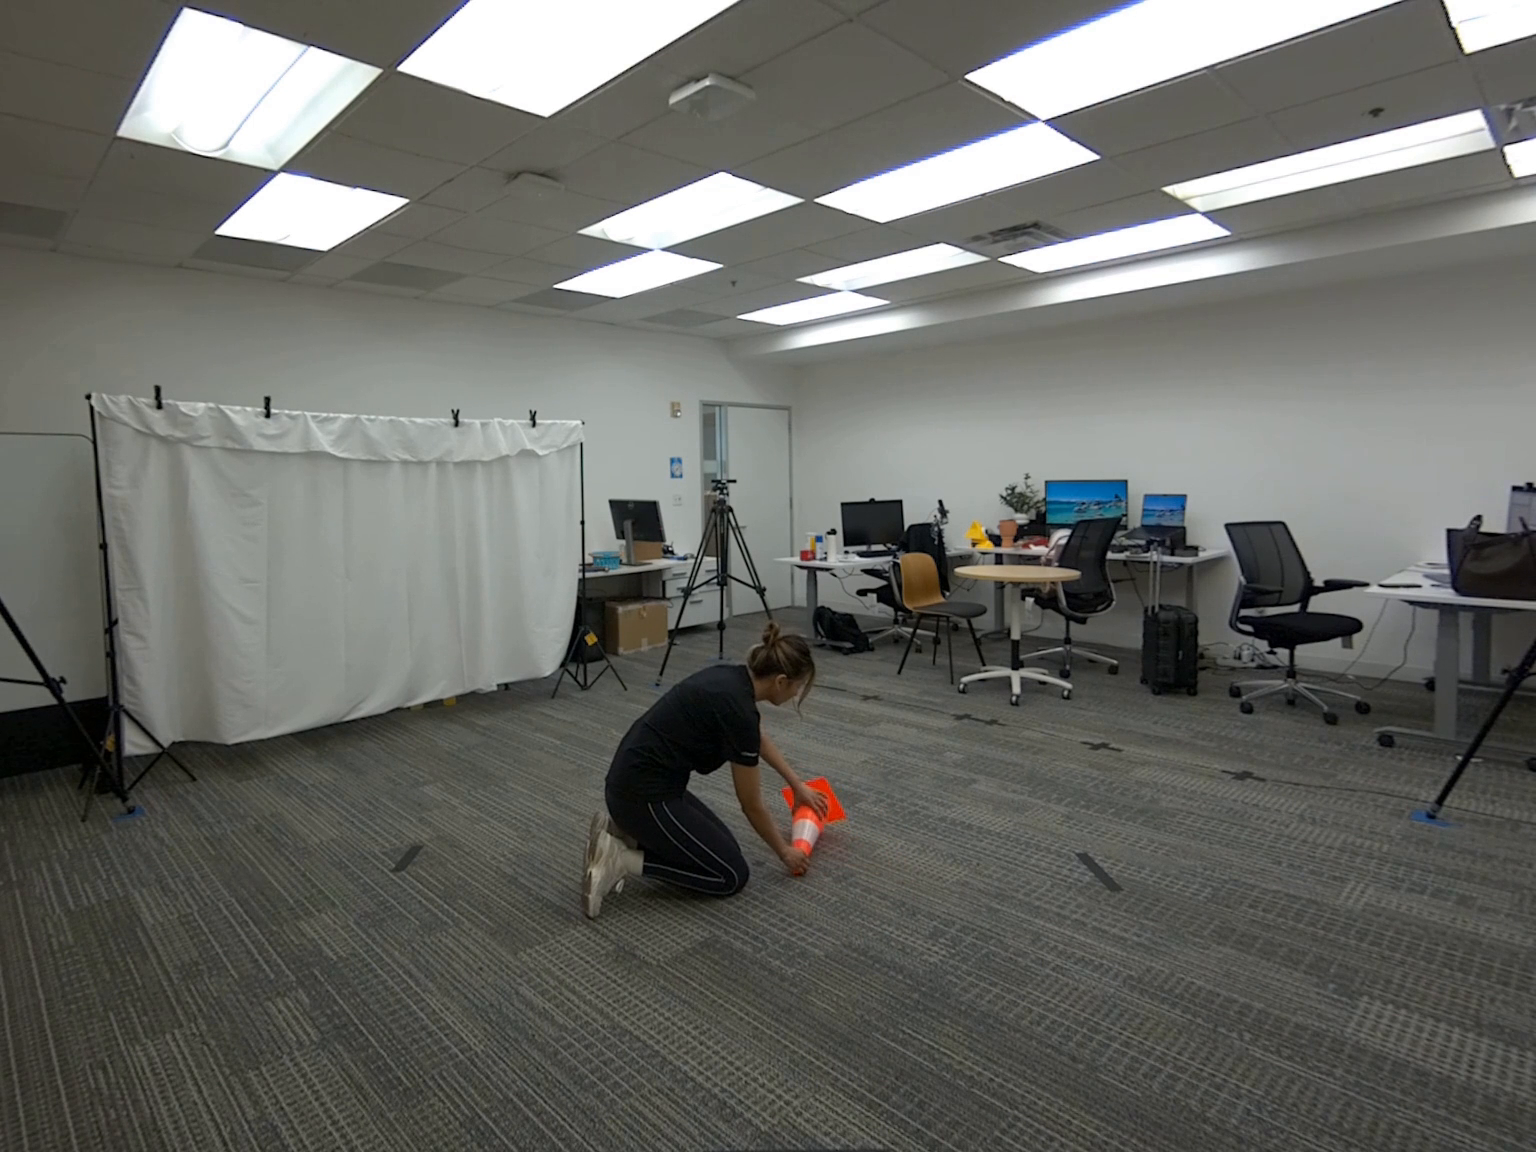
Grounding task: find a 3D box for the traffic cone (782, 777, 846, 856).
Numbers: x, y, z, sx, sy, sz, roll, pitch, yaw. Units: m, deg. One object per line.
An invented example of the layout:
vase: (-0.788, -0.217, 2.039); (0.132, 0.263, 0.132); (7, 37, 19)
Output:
traffic cone: (0.136, 0.974, 3.189); (0.207, 0.200, 0.385); (-24, 14, 23)
